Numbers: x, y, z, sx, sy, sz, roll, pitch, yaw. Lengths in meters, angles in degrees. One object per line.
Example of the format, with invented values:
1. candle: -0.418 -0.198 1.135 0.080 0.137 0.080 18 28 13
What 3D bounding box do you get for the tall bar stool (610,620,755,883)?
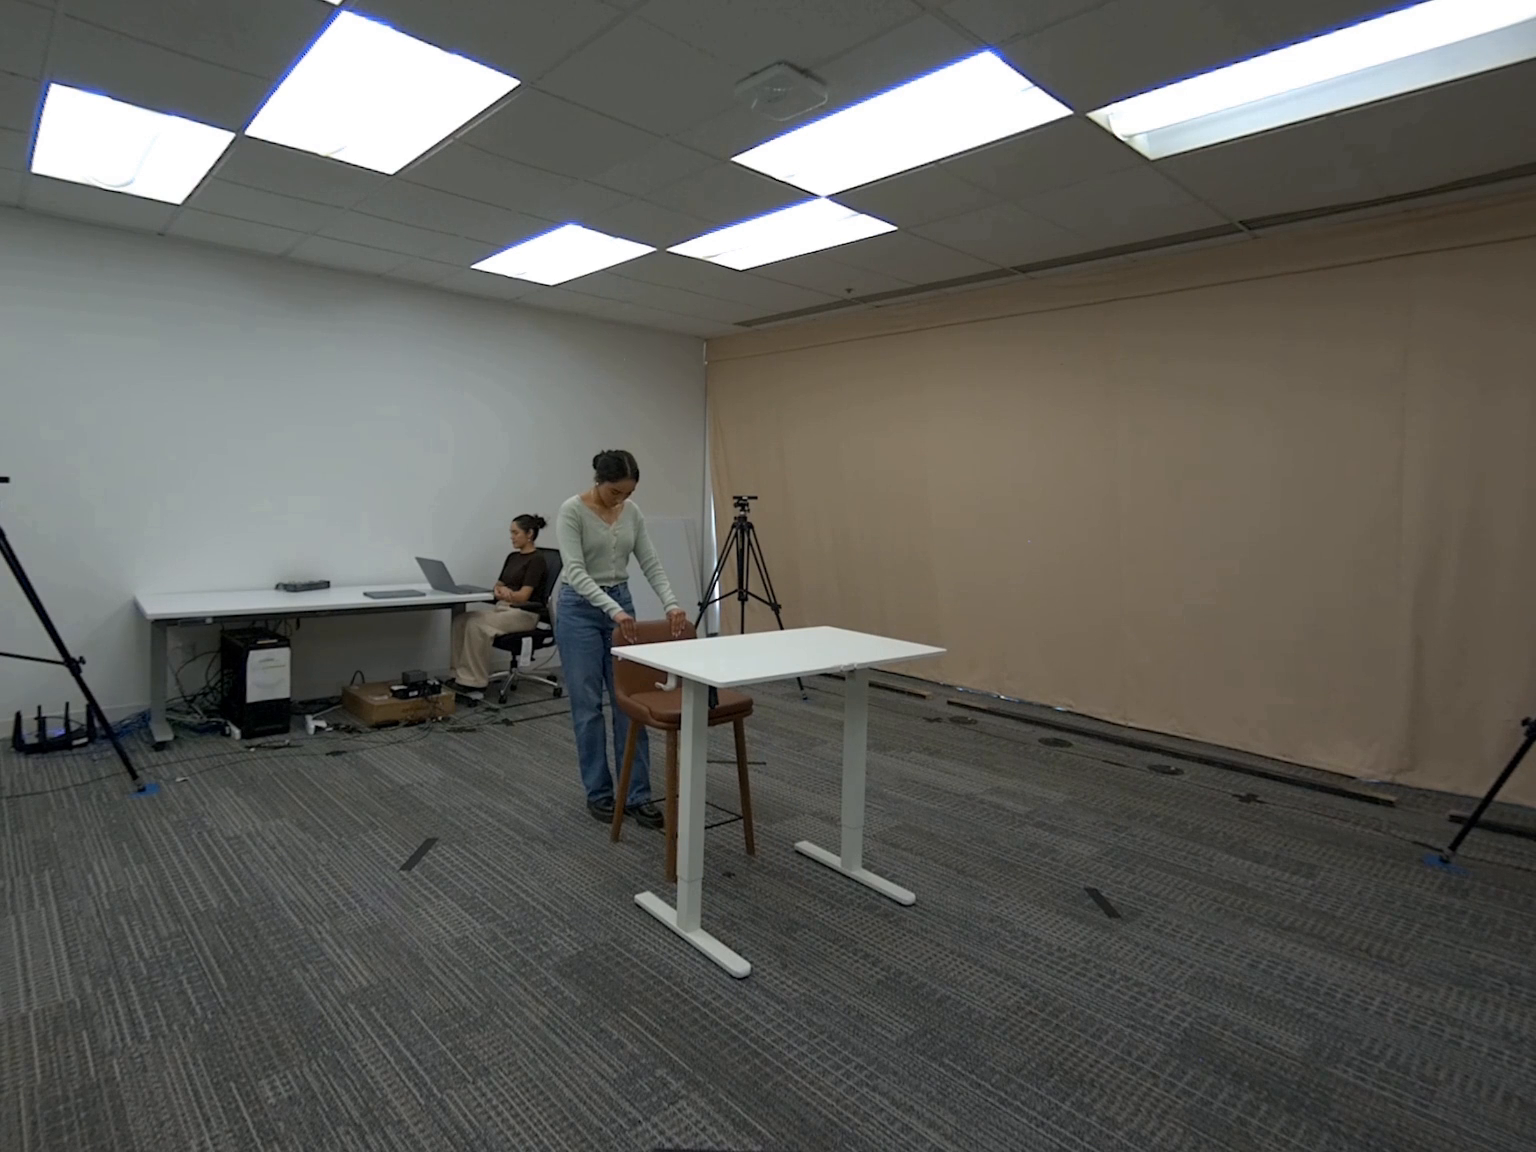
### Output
1. tall bar stool: -0.349 0.637 3.311 0.446 0.889 0.479 -1 2 -40
